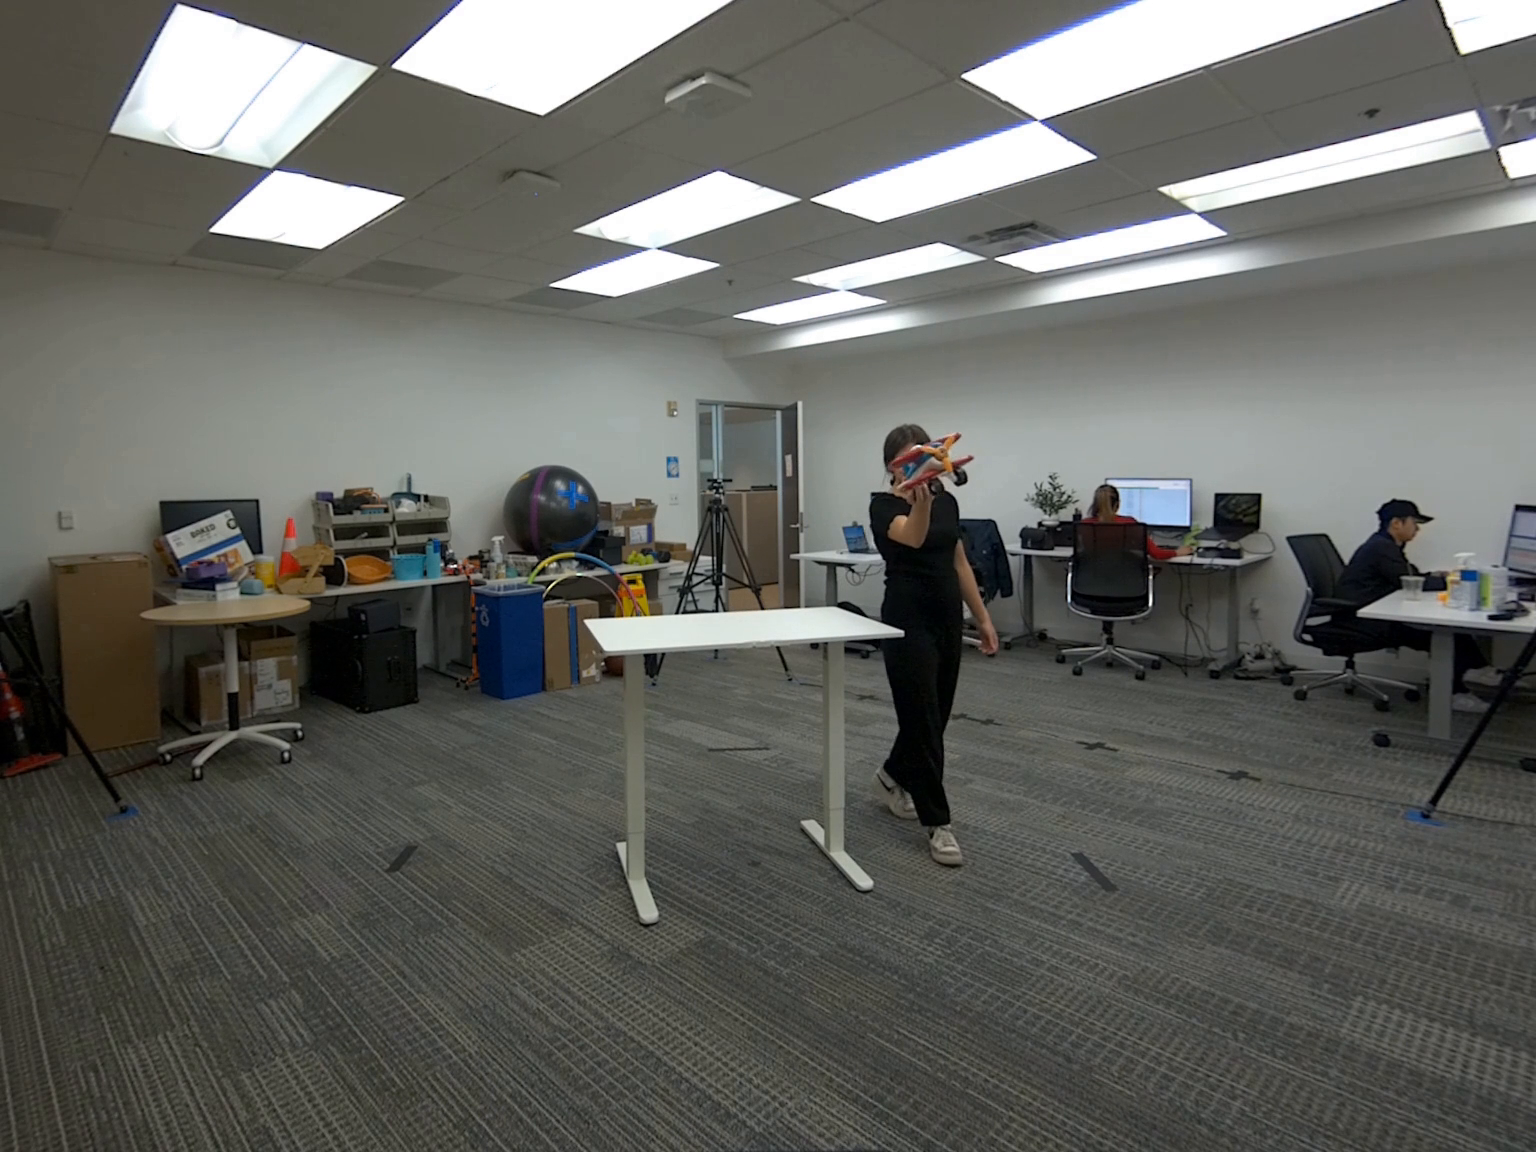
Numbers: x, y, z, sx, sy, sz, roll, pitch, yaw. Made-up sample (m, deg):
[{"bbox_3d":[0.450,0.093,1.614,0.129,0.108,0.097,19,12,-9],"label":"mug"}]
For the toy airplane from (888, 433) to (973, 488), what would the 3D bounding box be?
[{"bbox_3d":[0.478,-0.318,2.623,0.264,0.156,0.247,-16,7,46],"label":"toy airplane"}]
